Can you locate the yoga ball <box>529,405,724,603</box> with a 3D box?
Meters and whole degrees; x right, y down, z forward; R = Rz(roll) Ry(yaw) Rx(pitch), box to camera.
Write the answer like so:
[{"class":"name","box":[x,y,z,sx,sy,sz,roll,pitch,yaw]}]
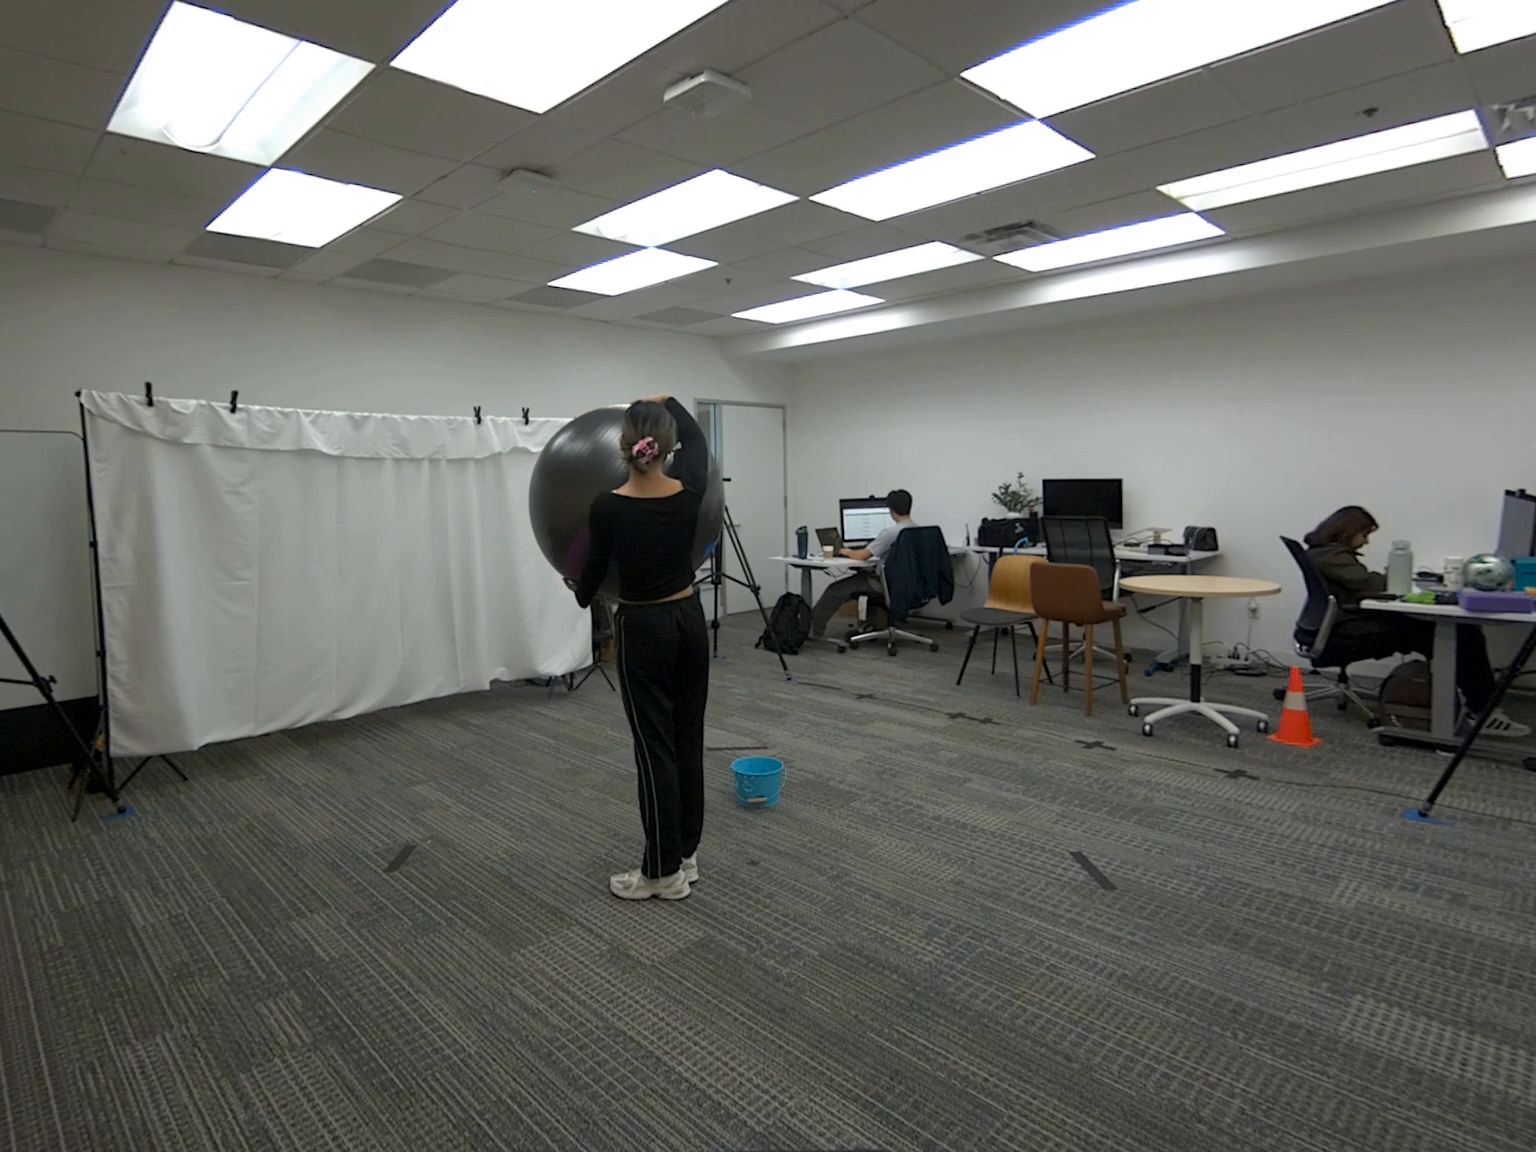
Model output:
[{"class":"yoga ball","box":[-0.554,-0.283,3.323,0.757,0.755,0.762,-1,5,-2]}]
